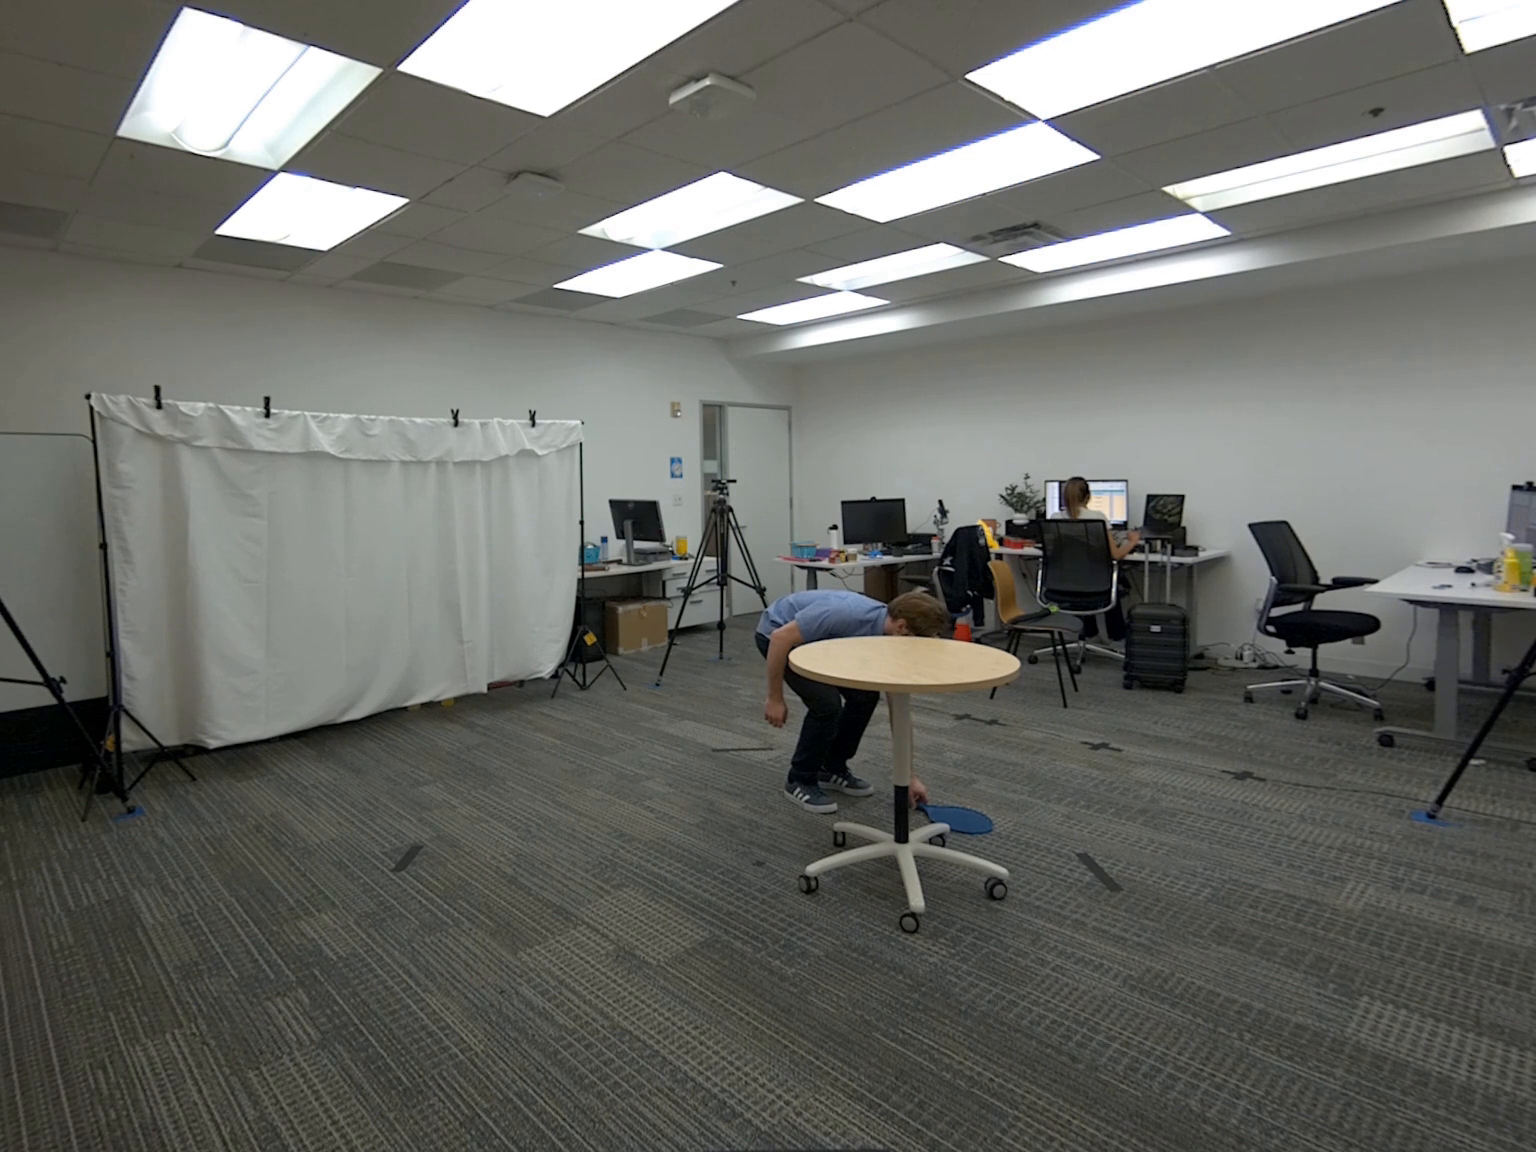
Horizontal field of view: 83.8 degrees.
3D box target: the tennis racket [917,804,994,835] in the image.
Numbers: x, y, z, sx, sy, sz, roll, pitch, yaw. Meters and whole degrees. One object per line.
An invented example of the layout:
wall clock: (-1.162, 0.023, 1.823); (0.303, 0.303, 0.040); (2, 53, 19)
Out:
tennis racket: (0.721, 0.978, 3.514); (0.446, 0.031, 0.208); (6, 11, 44)
